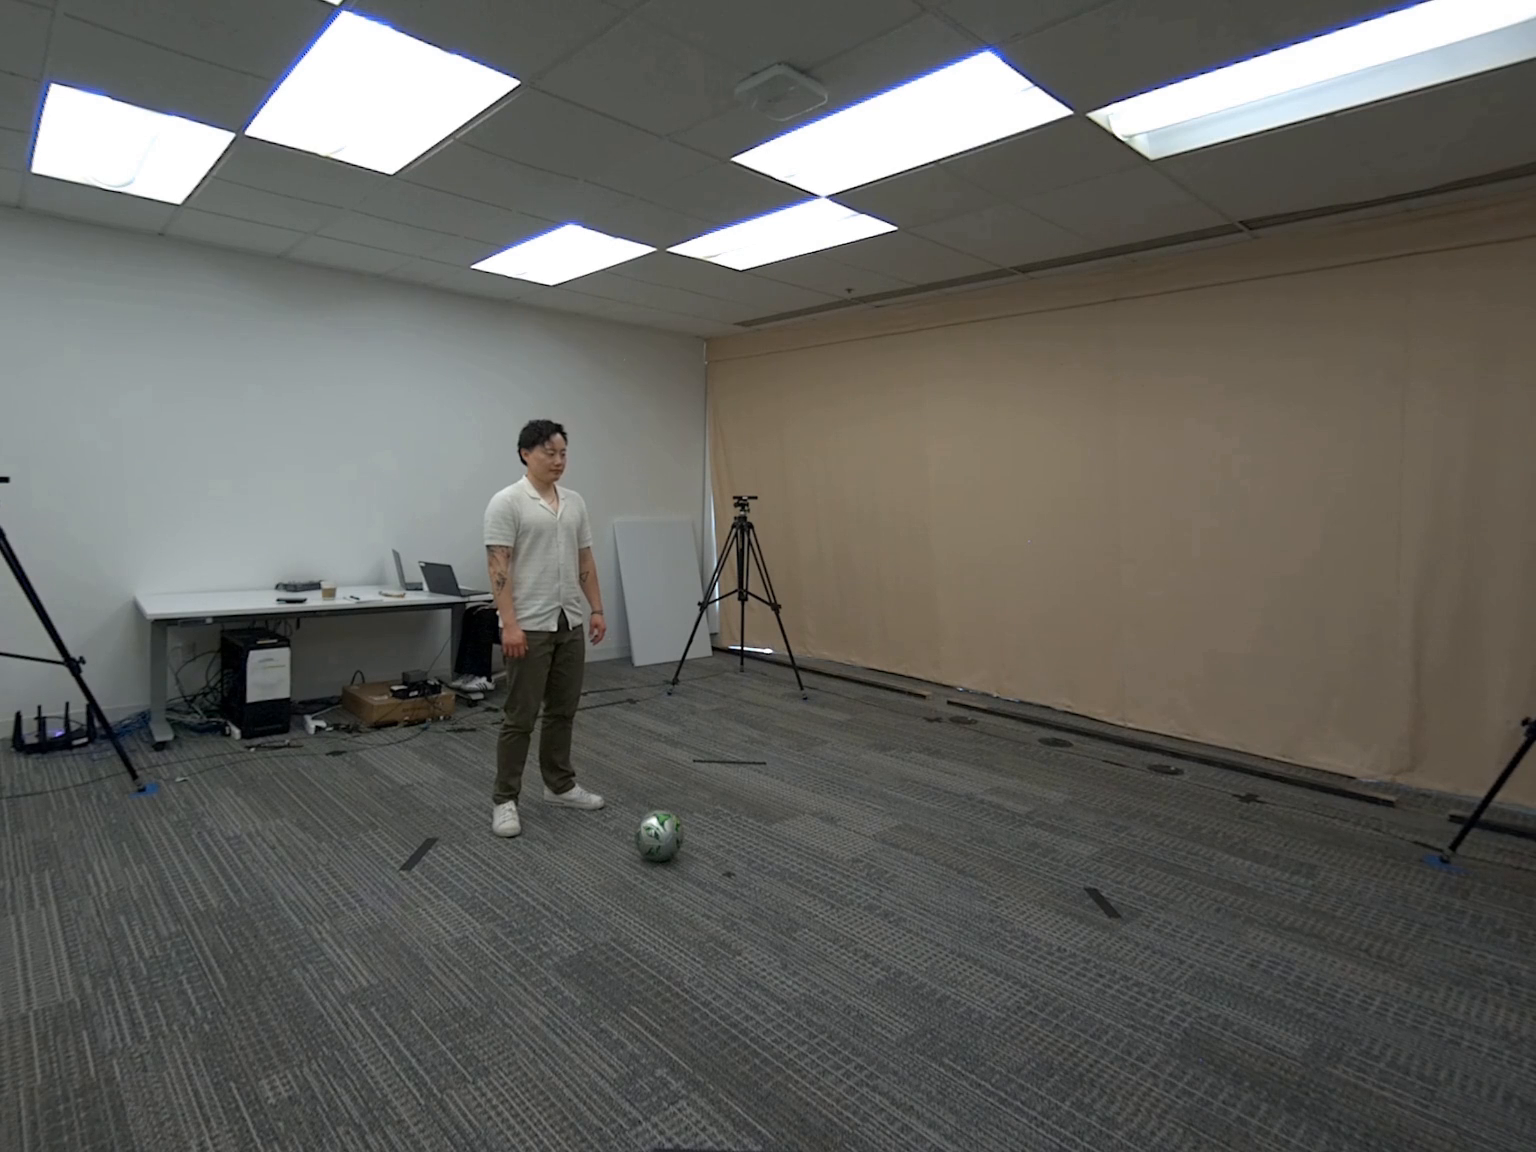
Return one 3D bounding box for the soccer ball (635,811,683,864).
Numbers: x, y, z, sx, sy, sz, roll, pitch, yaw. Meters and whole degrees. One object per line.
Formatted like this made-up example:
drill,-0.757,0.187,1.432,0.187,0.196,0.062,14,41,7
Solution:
soccer ball,-0.425,0.992,3.213,0.187,0.187,0.188,1,4,-1
